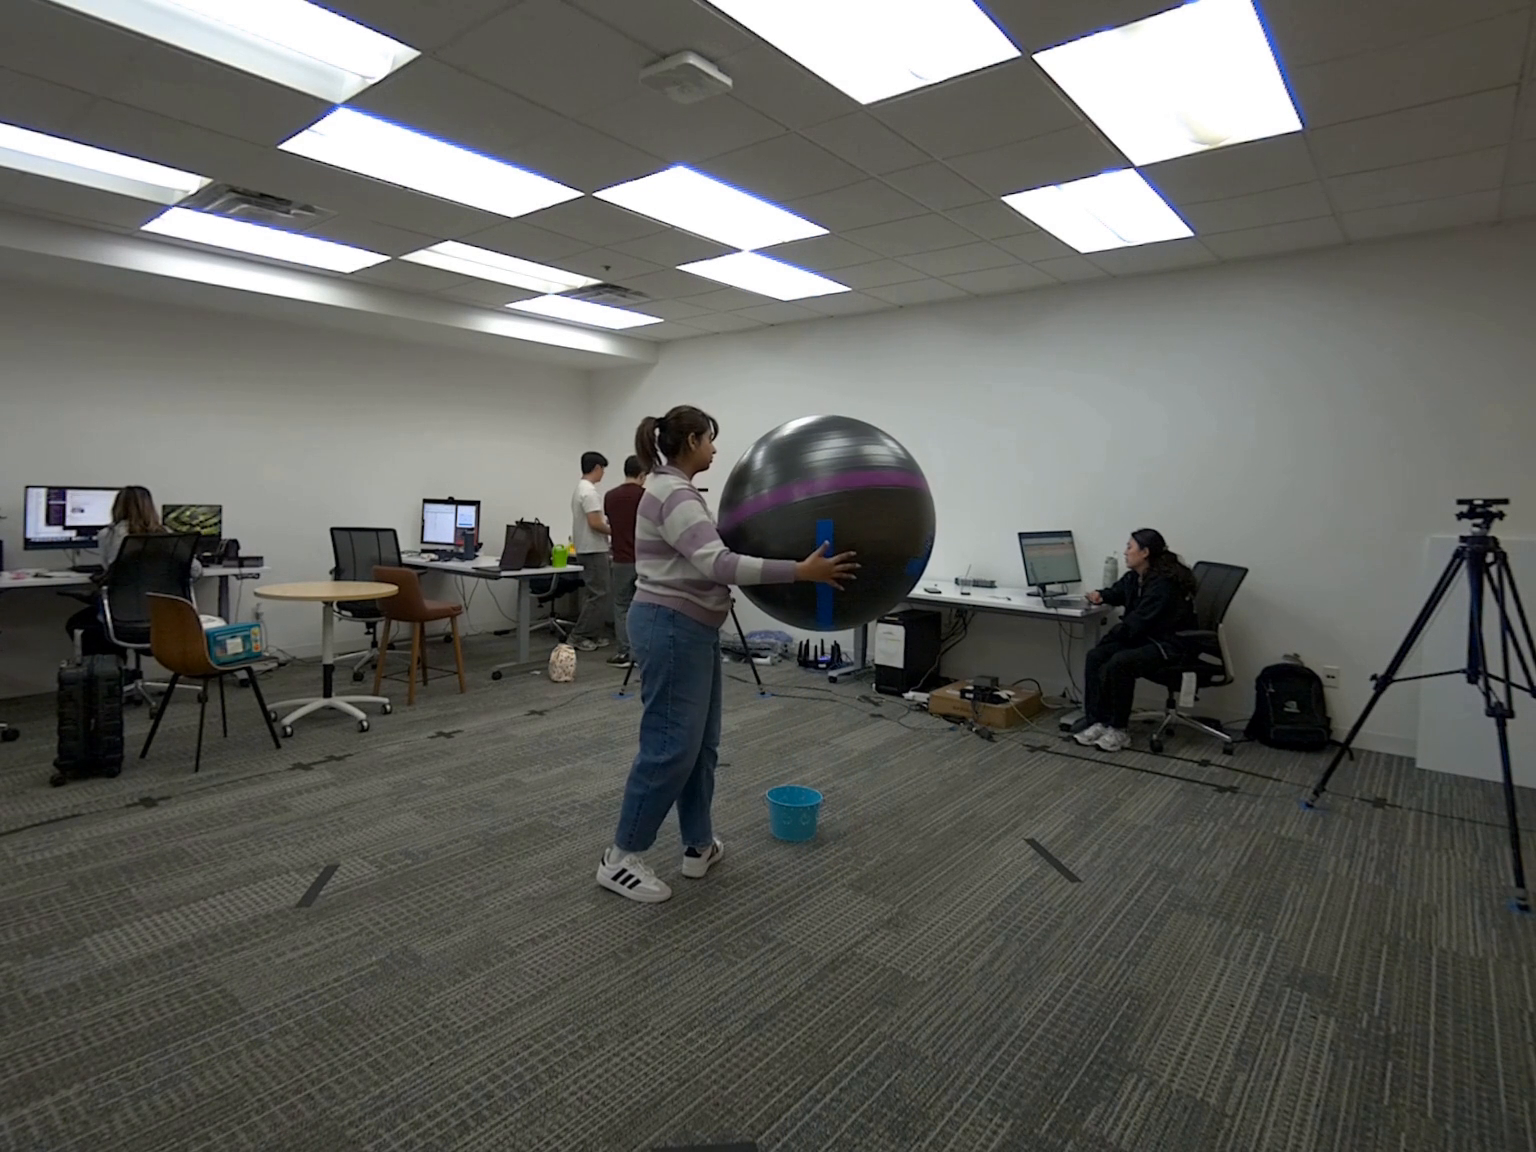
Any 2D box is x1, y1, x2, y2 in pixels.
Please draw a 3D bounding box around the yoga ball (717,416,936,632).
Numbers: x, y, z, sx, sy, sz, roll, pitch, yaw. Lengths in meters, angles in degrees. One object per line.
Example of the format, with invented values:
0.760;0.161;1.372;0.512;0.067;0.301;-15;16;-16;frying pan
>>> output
0.199;-0.183;3.016;0.757;0.756;0.761;1;4;-2;yoga ball
